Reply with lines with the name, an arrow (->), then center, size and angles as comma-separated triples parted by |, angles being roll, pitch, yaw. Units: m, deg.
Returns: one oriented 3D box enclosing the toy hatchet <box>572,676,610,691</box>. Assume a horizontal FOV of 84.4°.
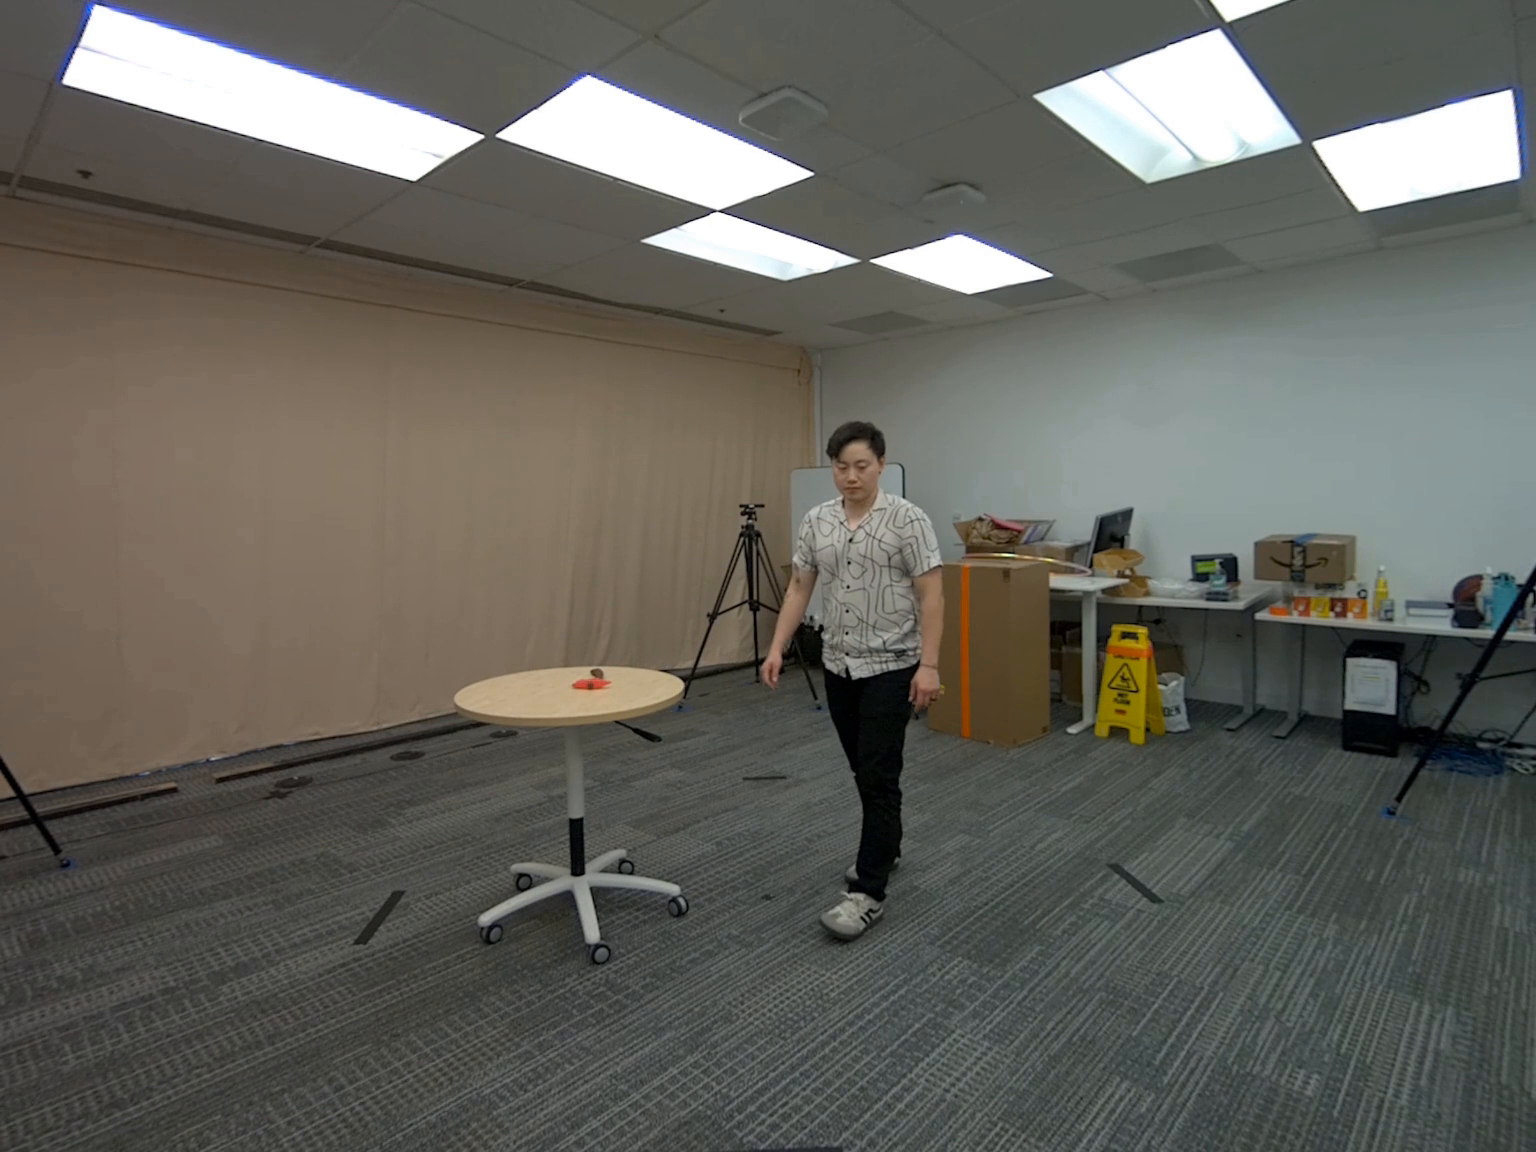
toy hatchet -> -0.633, 0.362, 2.967 | 0.129, 0.029, 0.275 | -8, 5, -18
